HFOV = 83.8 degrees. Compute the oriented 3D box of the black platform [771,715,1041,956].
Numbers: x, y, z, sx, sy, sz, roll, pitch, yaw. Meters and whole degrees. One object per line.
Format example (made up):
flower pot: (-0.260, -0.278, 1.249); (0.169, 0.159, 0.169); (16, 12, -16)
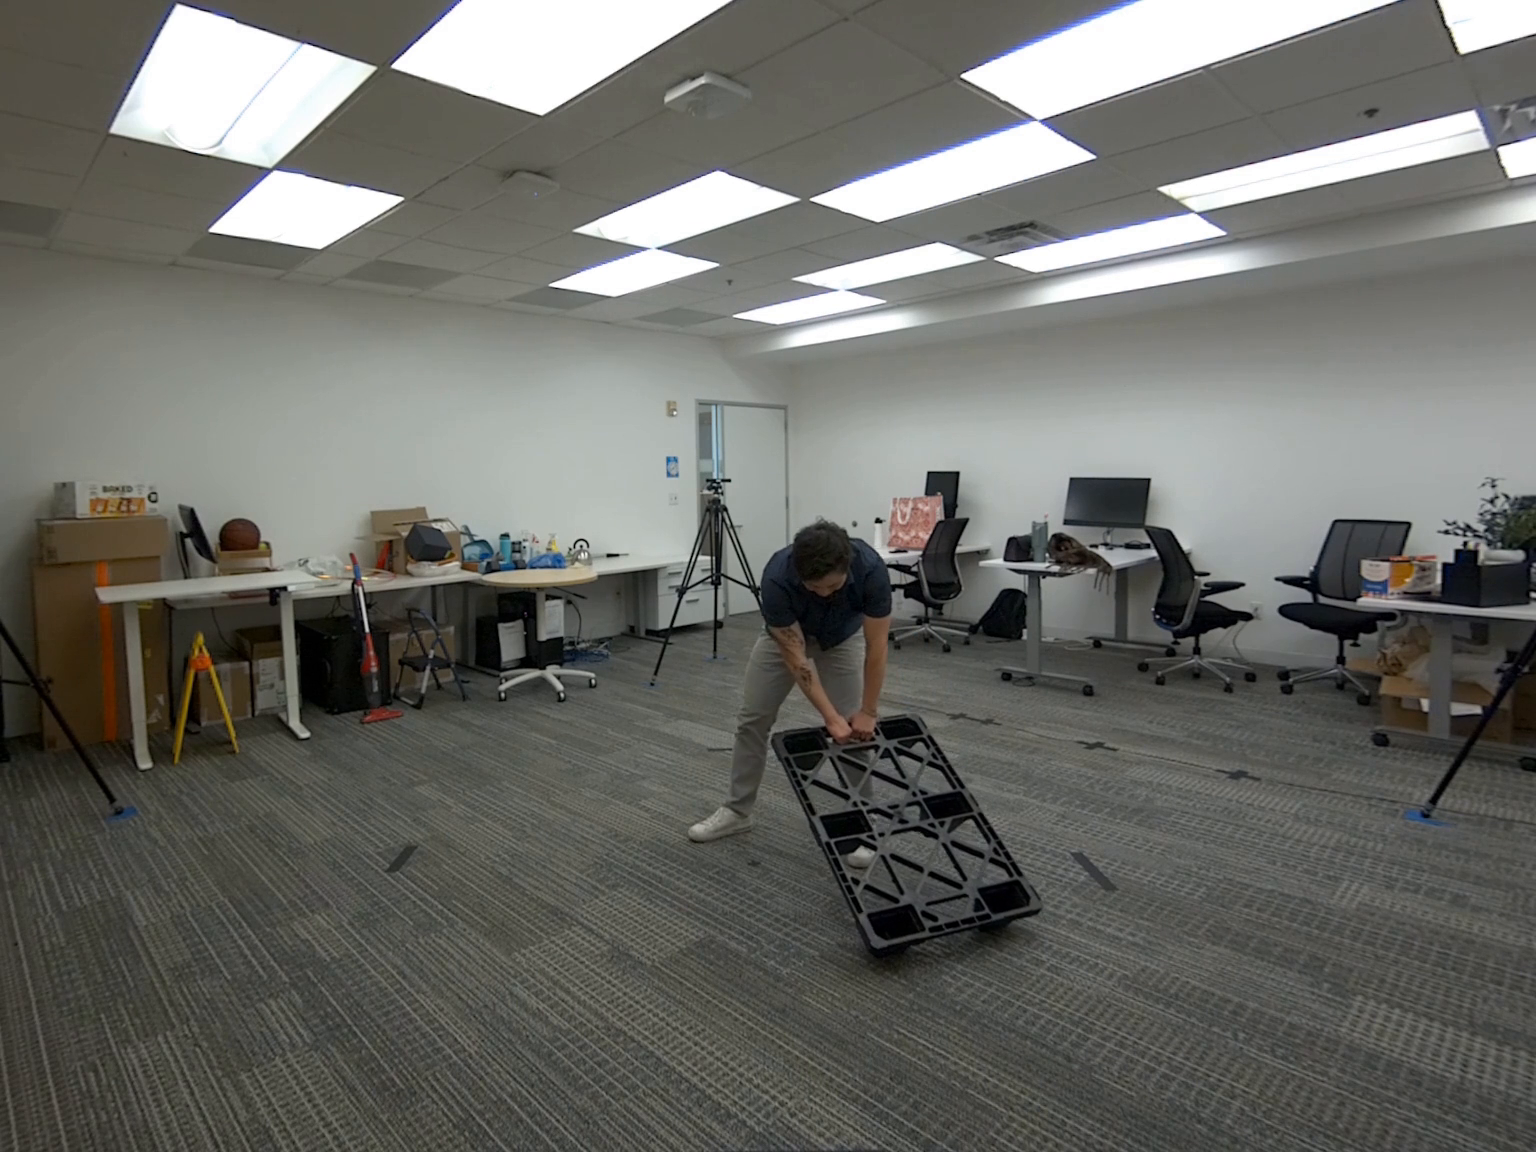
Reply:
black platform: (0.418, 0.822, 2.802); (0.594, 0.141, 0.836); (-3, 38, -21)
